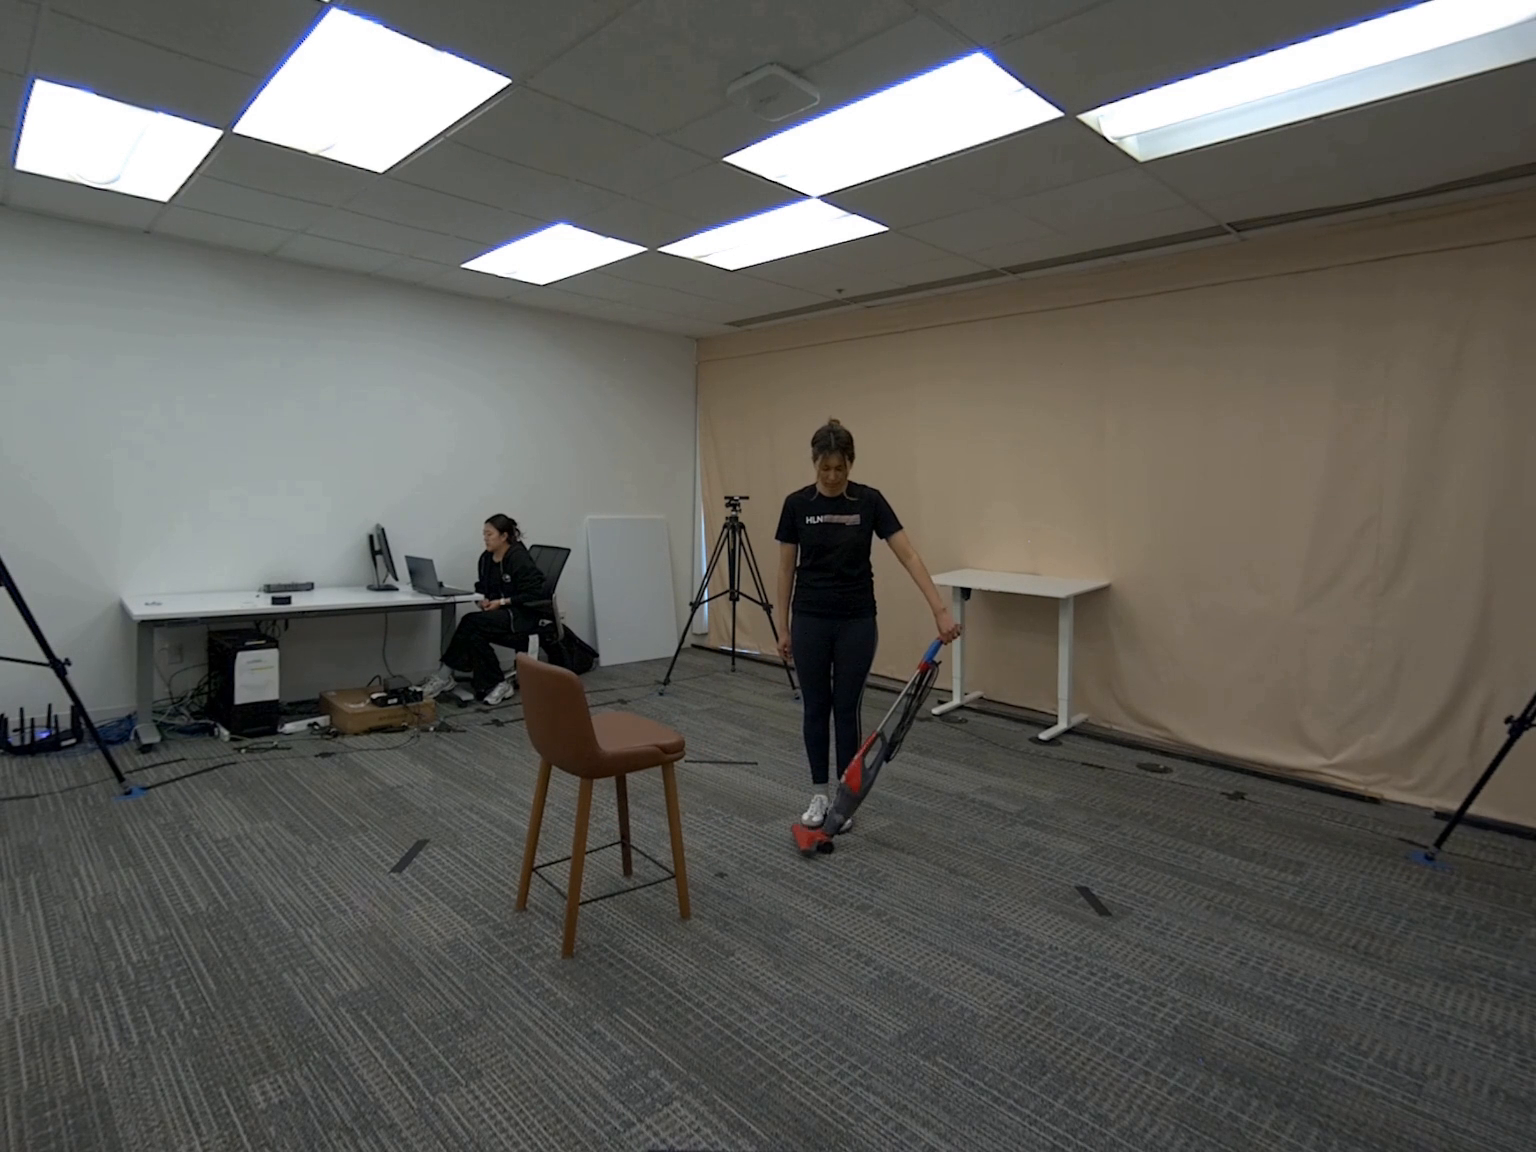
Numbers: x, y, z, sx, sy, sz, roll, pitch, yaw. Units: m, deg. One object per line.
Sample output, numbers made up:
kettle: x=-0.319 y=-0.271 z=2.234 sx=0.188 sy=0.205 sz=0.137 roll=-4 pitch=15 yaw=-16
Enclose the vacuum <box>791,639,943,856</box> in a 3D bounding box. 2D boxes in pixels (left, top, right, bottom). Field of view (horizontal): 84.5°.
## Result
vacuum: x=0.468 y=0.648 z=3.368 sx=0.143 sy=1.049 sz=0.255 roll=36 pitch=1 yaw=-9
